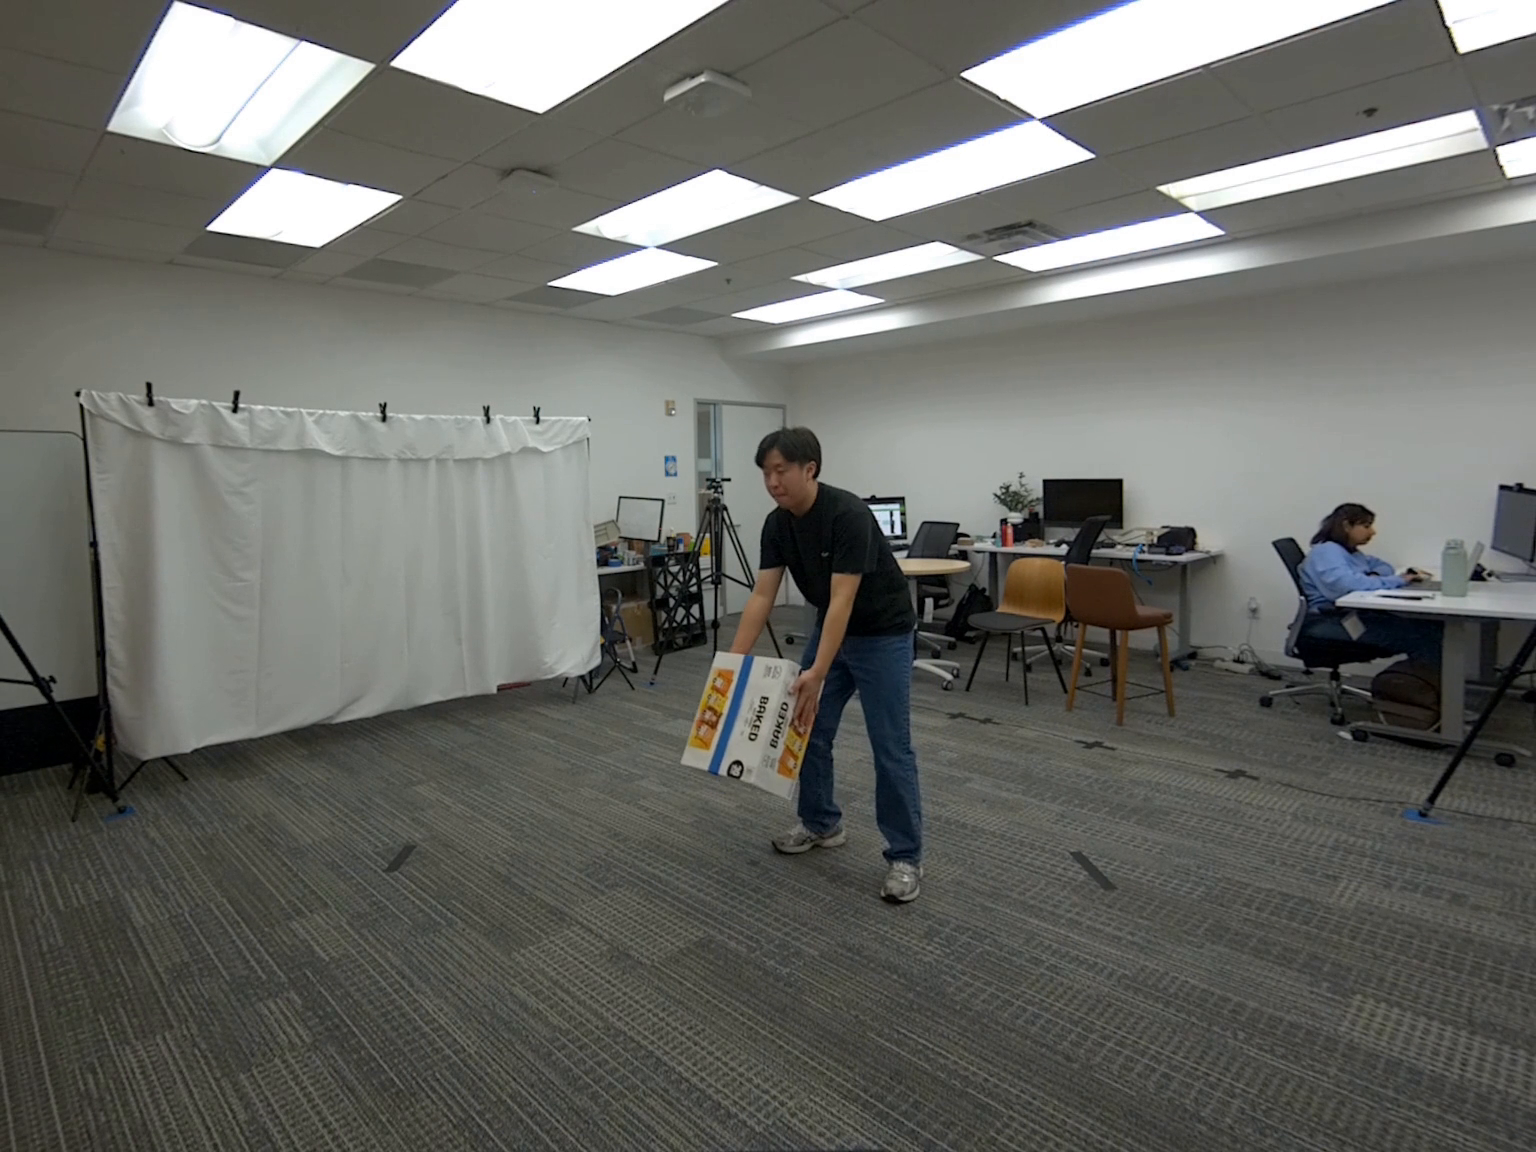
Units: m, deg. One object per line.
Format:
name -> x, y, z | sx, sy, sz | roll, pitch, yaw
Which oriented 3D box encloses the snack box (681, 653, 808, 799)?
snack box -> -0.048, 0.487, 2.844 | 0.350, 0.409, 0.198 | -1, -25, 45
